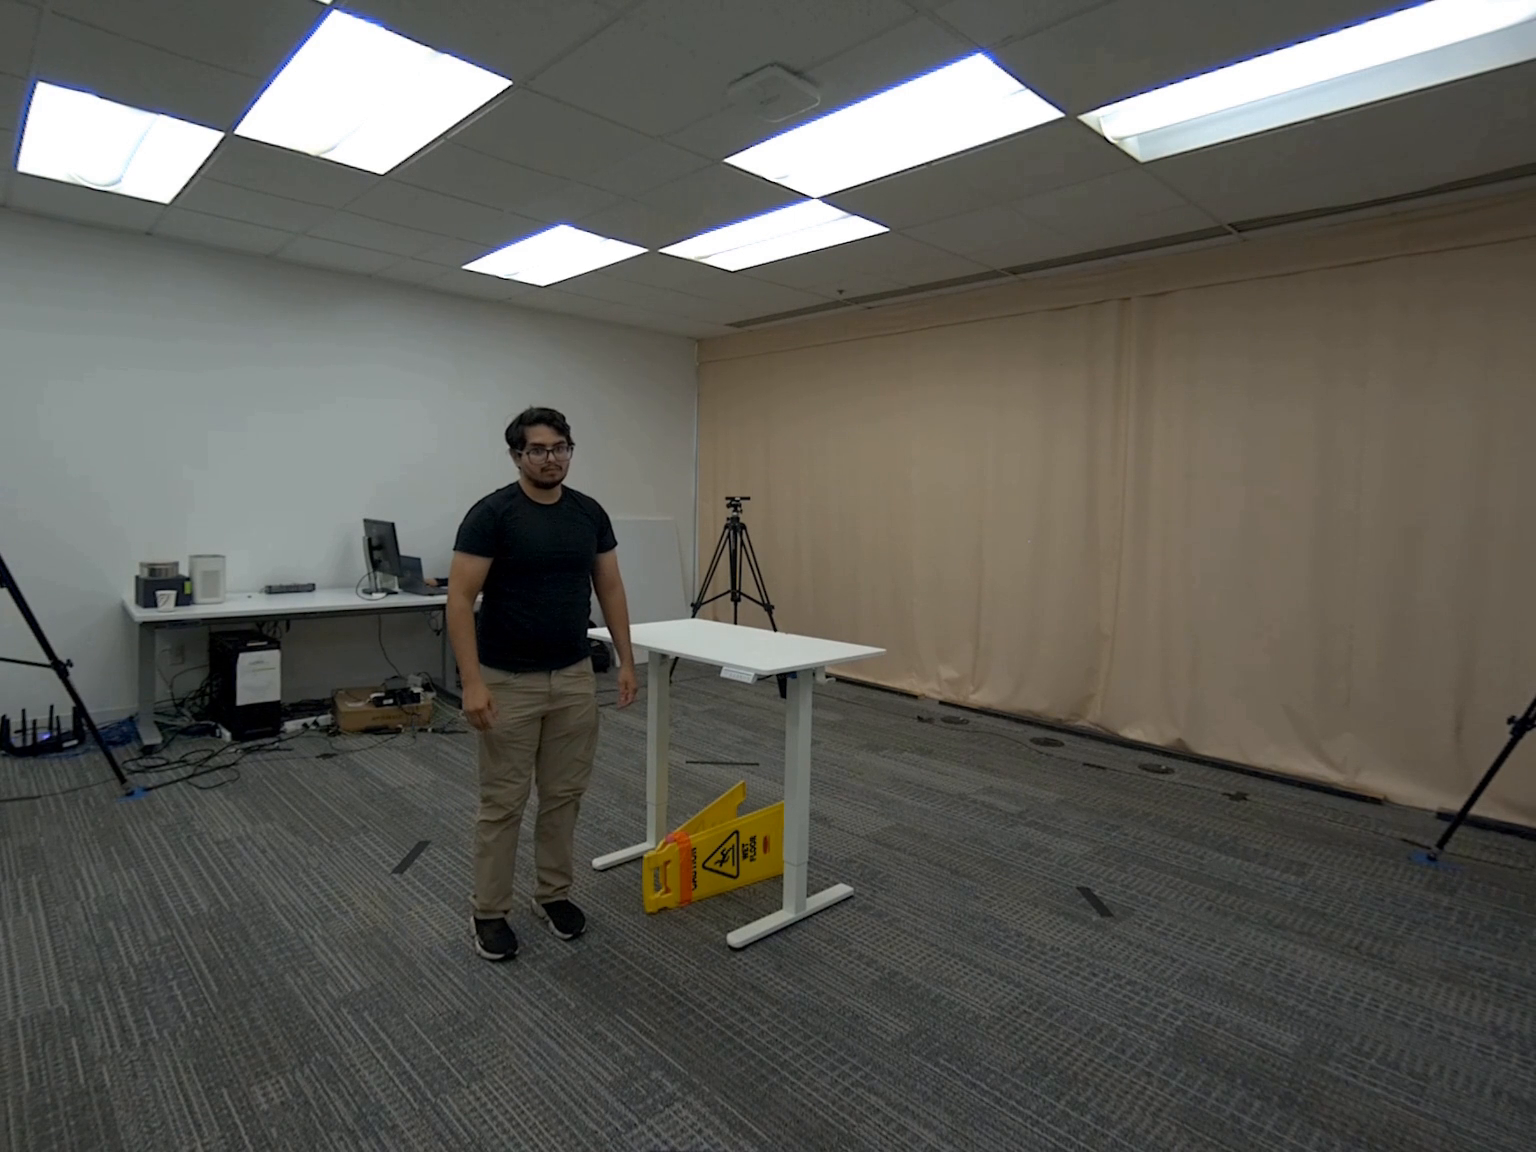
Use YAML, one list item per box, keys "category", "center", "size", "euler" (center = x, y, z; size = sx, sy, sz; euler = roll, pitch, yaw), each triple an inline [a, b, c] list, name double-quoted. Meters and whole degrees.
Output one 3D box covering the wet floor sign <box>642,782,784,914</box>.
- category: "wet floor sign"
  center: [-0.200, 0.991, 3.014]
  size: [0.297, 0.281, 0.633]
  euler: [5, 9, 41]
